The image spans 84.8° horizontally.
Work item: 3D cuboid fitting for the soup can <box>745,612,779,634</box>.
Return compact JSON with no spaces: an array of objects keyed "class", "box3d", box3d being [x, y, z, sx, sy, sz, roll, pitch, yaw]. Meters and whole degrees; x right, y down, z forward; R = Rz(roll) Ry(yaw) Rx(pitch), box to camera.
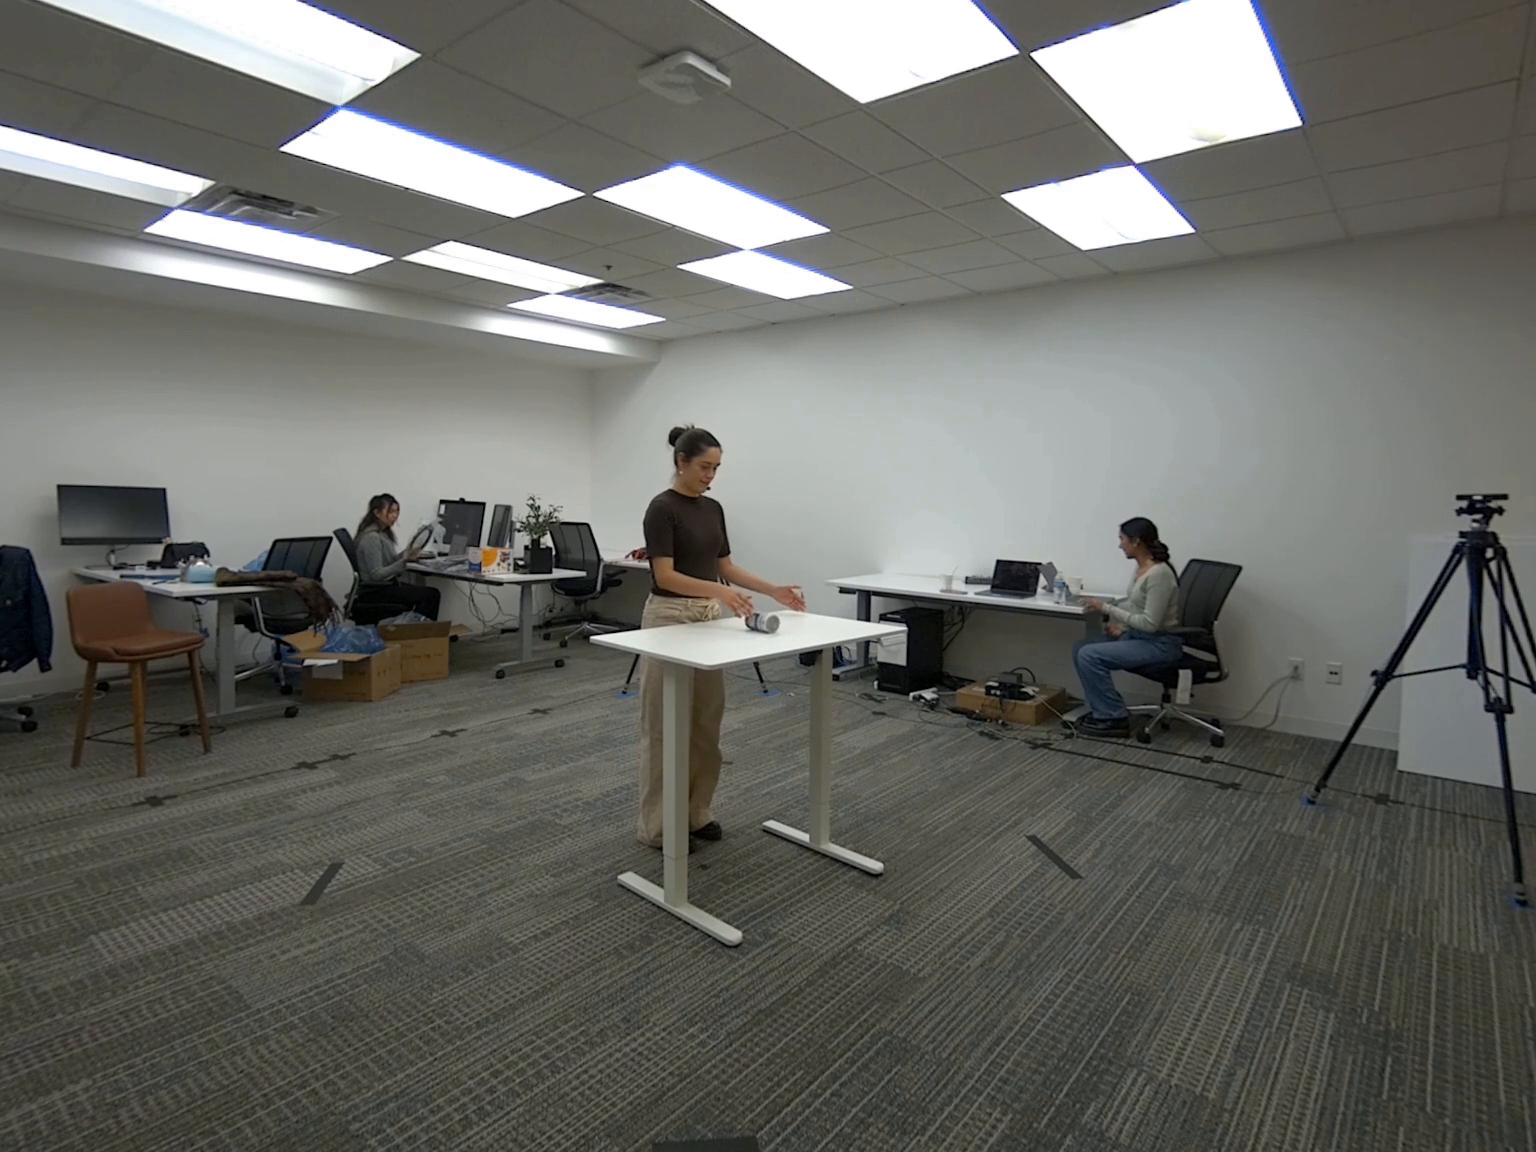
[{"class":"soup can","box3d":[-0.035,0.159,3.022,0.065,0.067,0.125,-2,4,-32]}]
